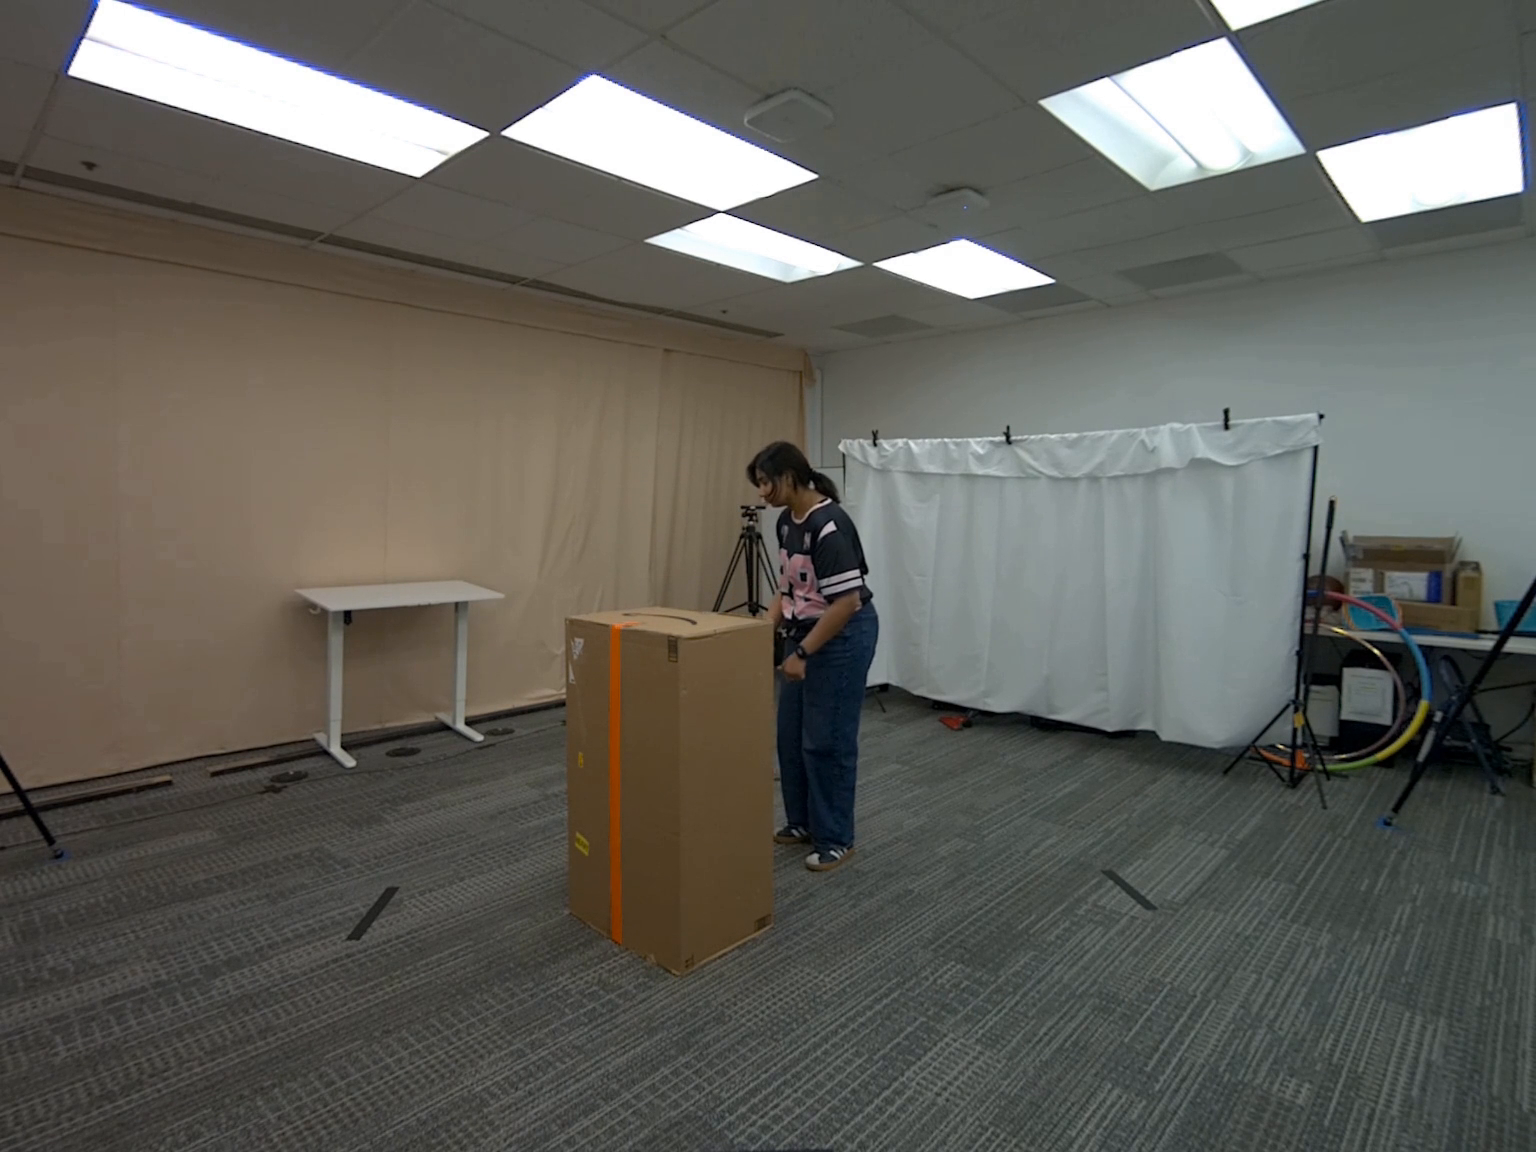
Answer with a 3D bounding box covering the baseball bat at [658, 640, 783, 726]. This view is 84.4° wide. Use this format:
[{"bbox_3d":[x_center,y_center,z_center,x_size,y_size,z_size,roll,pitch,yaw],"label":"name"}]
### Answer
[{"bbox_3d":[-0.198,0.433,3.429,0.549,0.090,0.087,-32,-7,19],"label":"baseball bat"}]
